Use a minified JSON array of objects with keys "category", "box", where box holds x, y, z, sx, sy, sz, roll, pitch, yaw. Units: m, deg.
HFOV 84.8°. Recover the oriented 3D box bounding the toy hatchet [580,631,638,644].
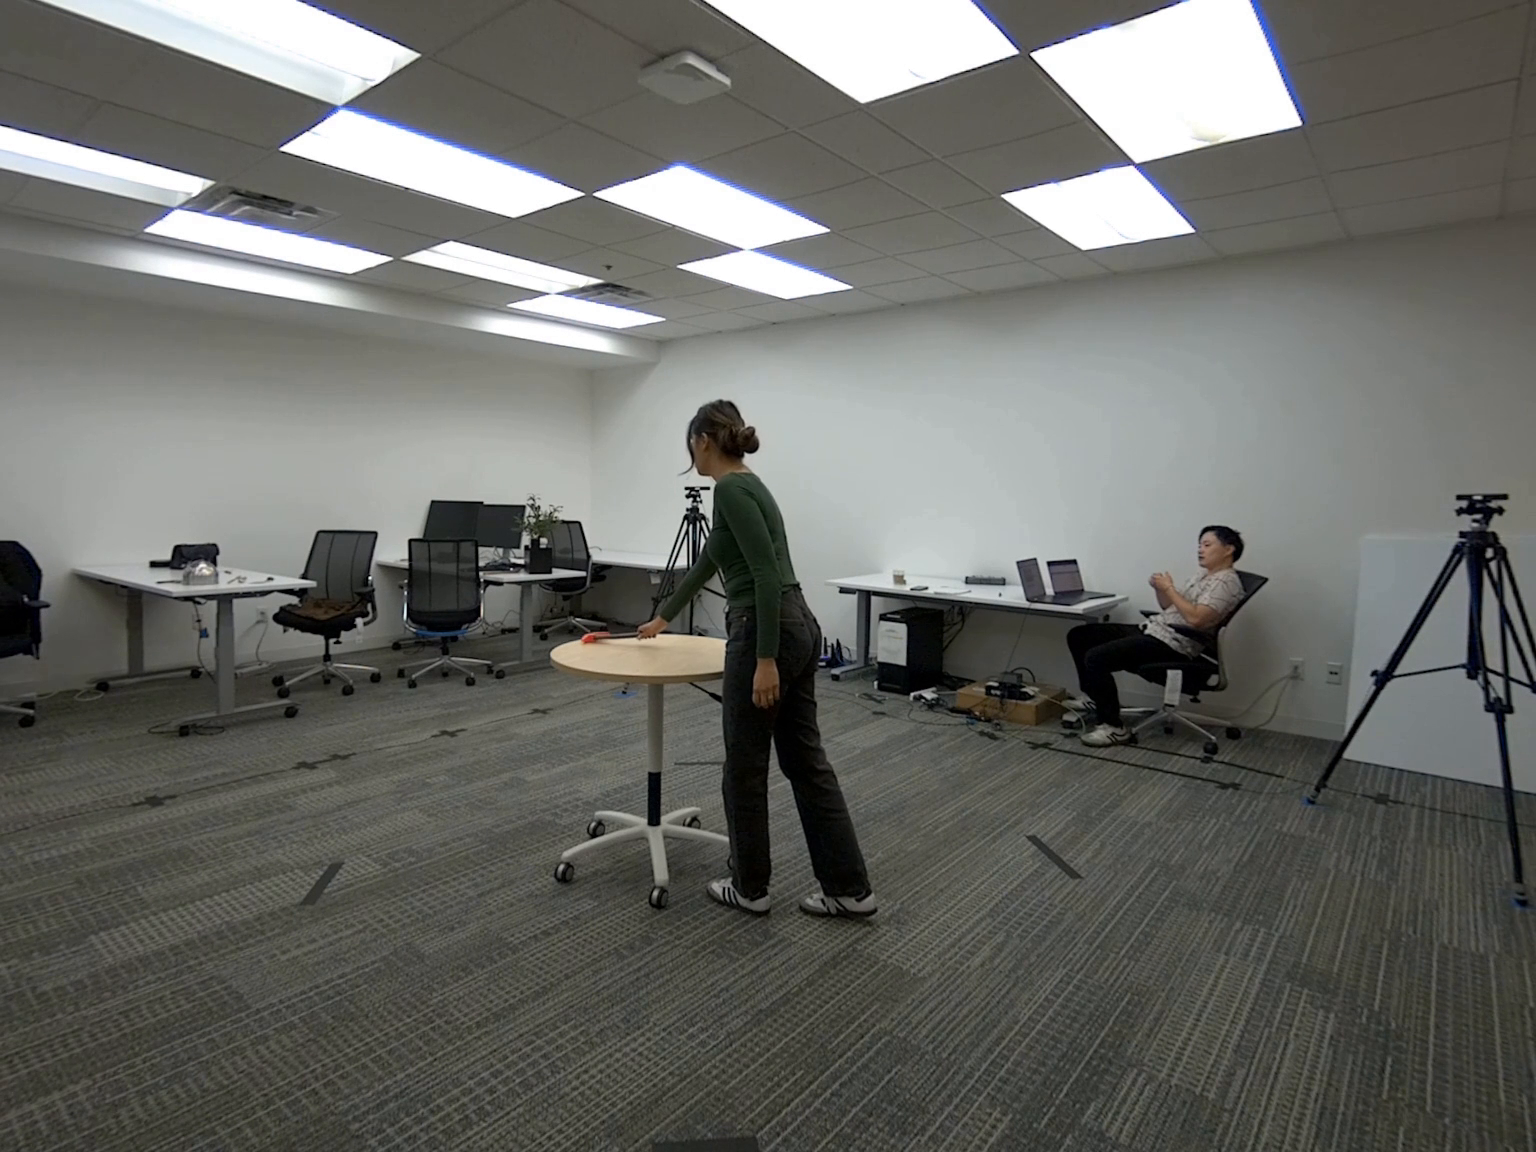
[{"category":"toy hatchet","box":[-0.597,0.227,3.298,0.271,0.029,0.131,-5,6,5]}]
